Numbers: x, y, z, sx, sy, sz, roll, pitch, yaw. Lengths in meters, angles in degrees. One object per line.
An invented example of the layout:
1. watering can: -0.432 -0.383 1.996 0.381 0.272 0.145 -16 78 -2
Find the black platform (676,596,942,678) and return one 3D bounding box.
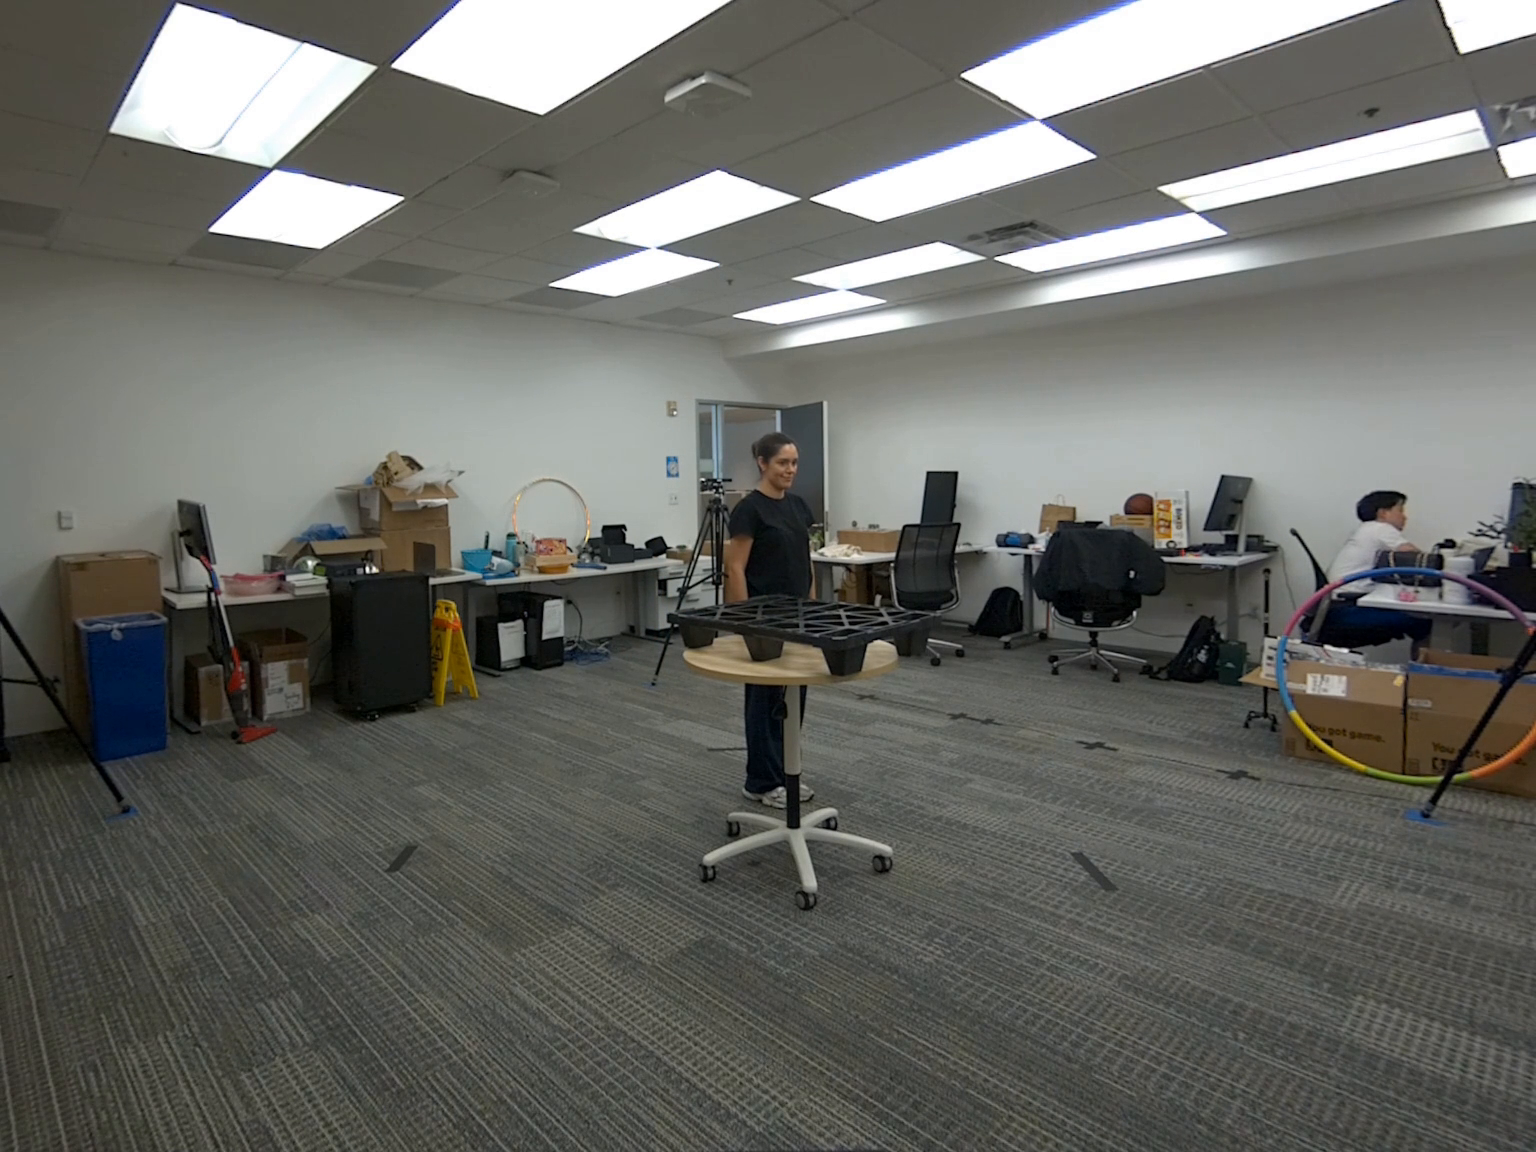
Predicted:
1. black platform: 0.119 0.202 3.076 0.830 0.142 0.589 5 9 44
